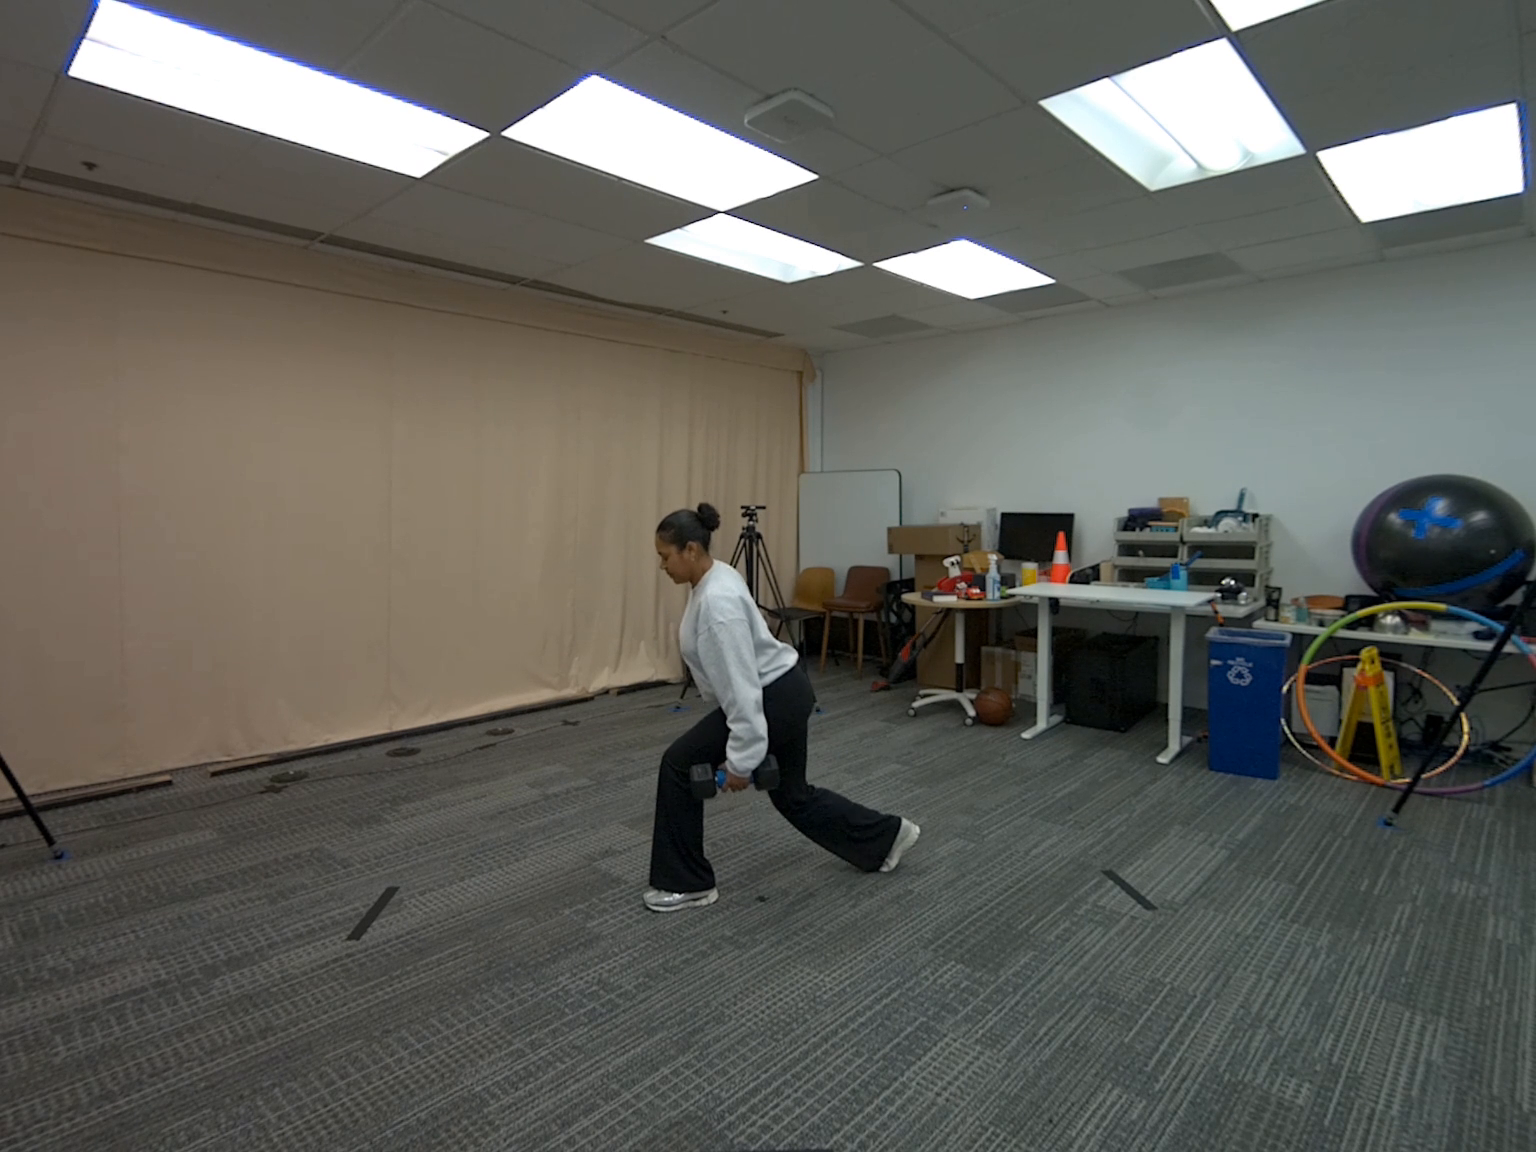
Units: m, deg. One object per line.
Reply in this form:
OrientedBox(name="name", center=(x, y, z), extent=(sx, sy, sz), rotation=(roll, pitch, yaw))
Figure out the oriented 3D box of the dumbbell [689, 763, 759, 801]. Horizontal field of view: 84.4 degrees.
OrientedBox(name="dumbbell", center=(-0.114, 0.666, 2.817), extent=(0.292, 0.122, 0.110), rotation=(-8, 10, -5))
